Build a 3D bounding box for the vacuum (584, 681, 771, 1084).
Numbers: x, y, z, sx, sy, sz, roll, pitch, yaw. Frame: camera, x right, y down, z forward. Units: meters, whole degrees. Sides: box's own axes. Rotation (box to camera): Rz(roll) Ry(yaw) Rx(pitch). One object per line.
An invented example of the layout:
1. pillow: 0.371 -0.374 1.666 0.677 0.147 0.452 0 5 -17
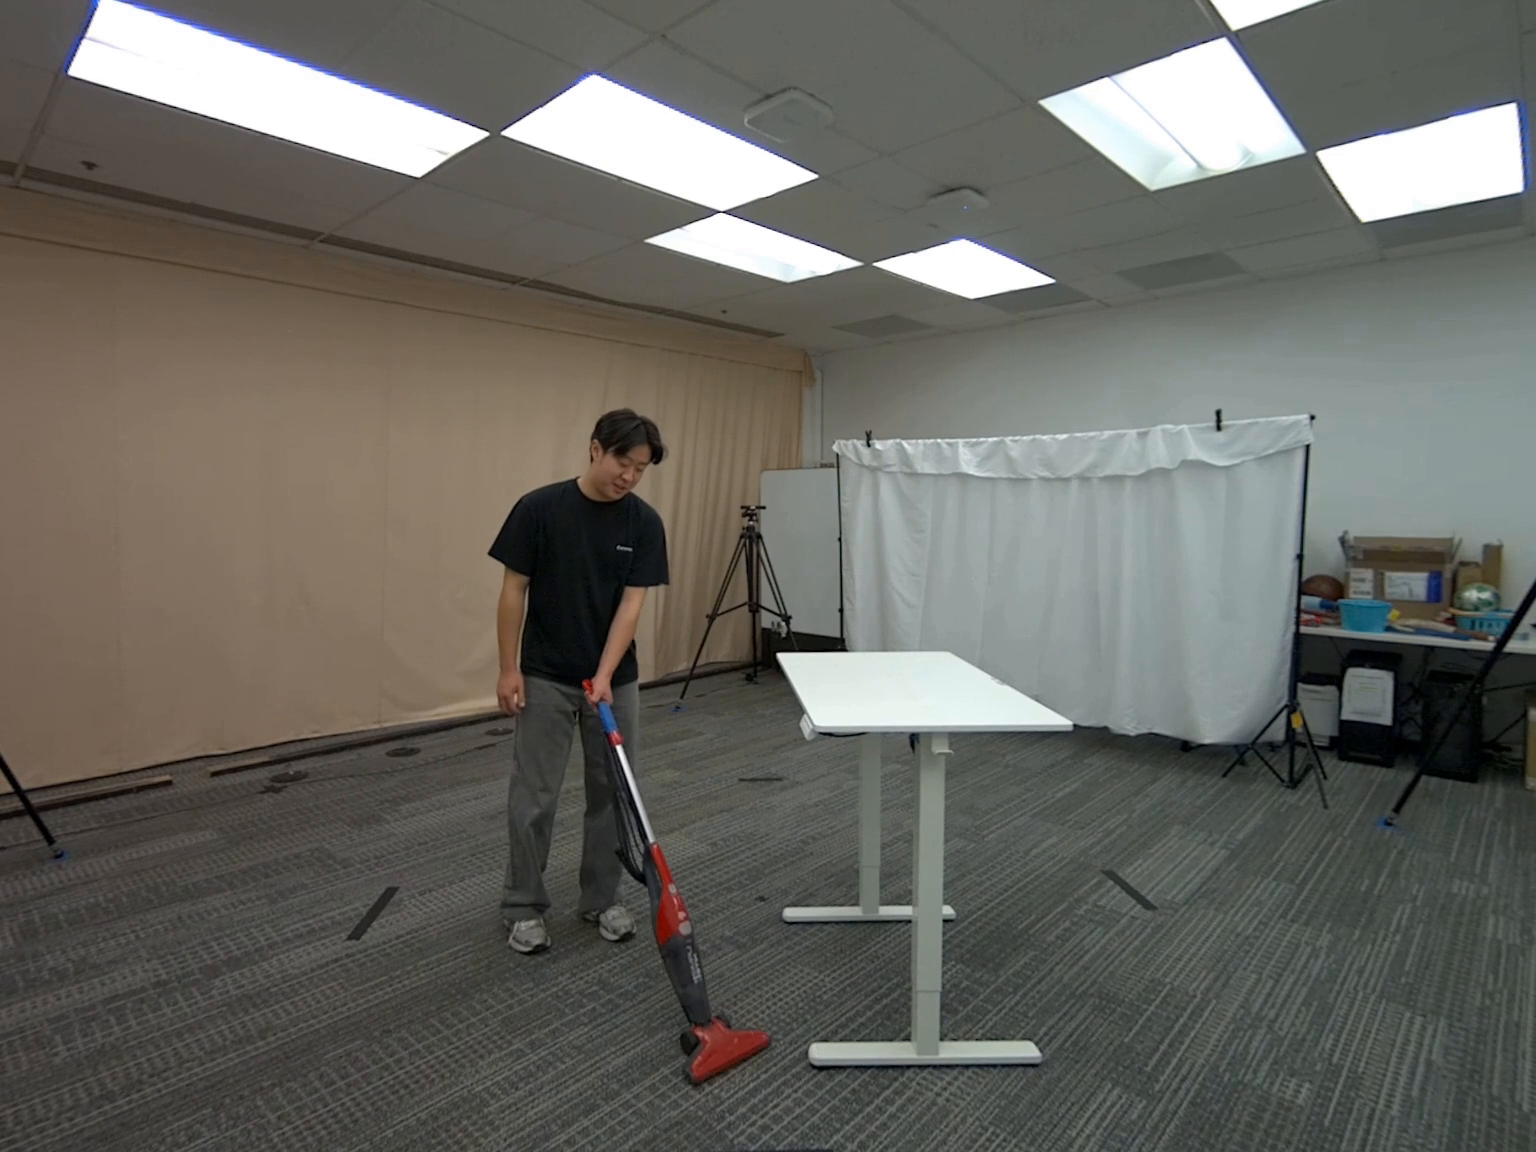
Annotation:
1. vacuum: -0.340 0.774 2.370 0.245 1.075 0.145 -1 -35 -42
